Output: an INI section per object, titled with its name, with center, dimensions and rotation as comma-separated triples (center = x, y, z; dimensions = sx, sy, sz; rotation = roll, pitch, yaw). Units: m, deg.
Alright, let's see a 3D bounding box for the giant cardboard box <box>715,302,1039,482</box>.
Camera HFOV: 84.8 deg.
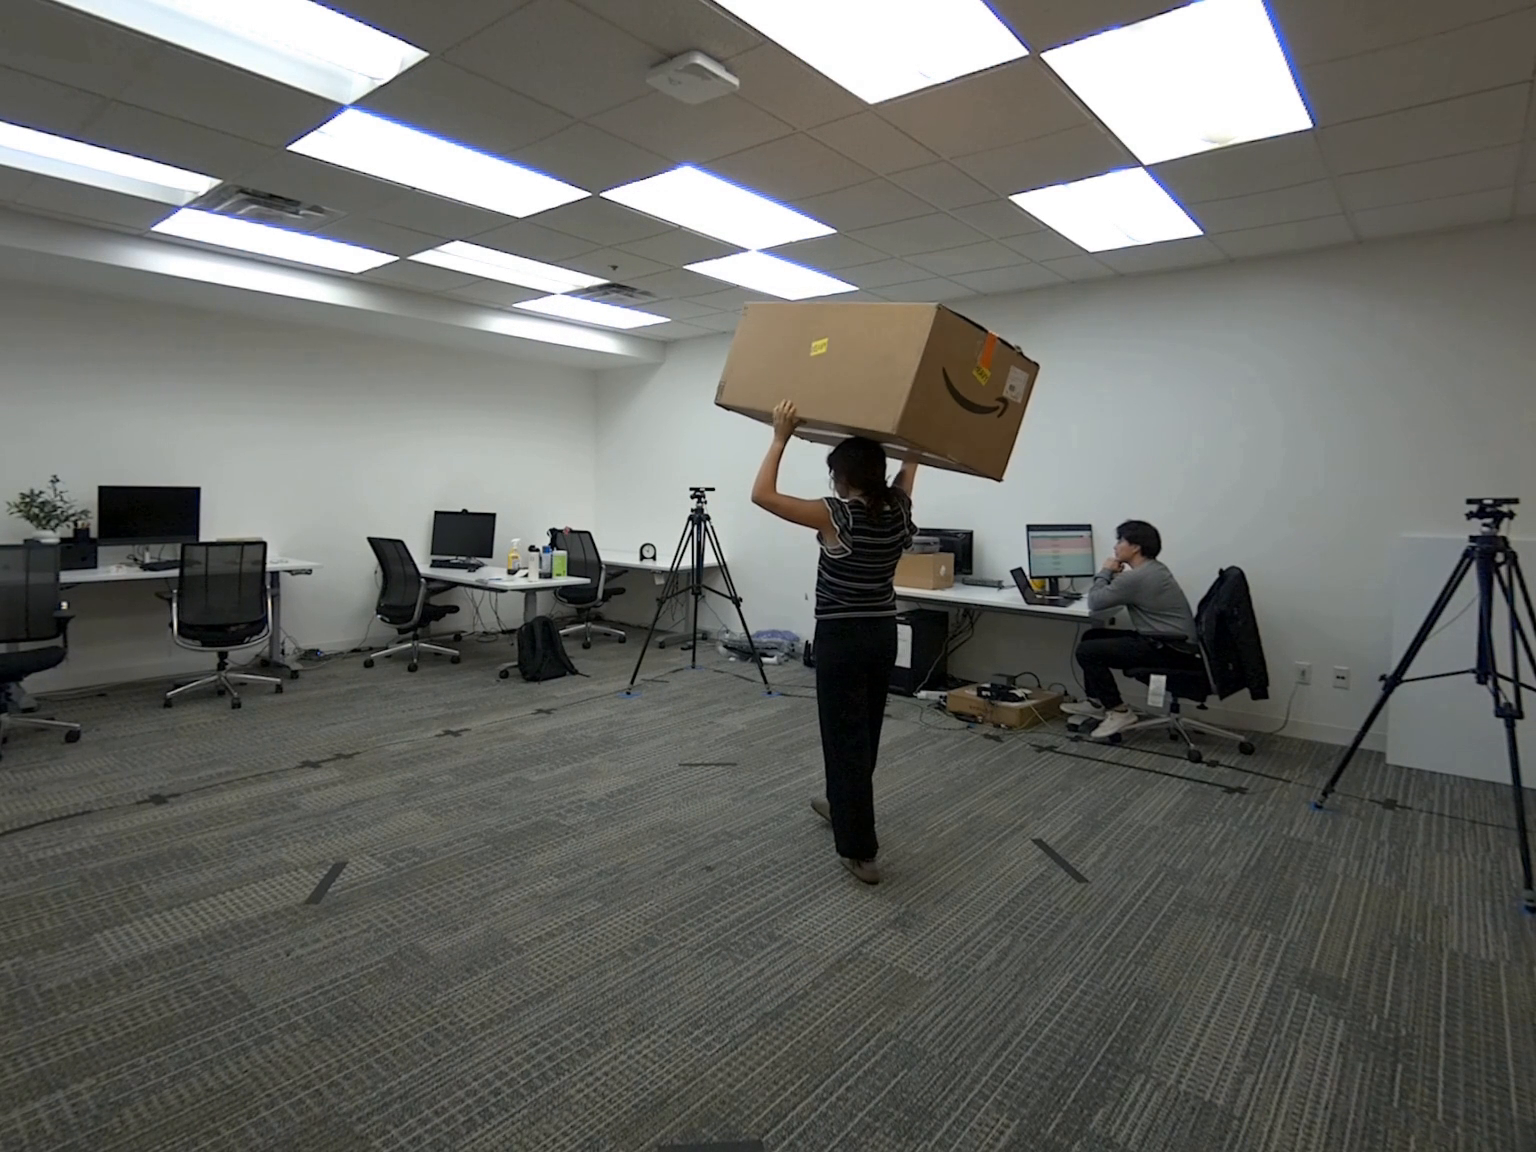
[giant cardboard box]
center = 0.347, -0.709, 3.170
dimensions = 0.556, 0.425, 1.067
rotation = 15, 5, -39
